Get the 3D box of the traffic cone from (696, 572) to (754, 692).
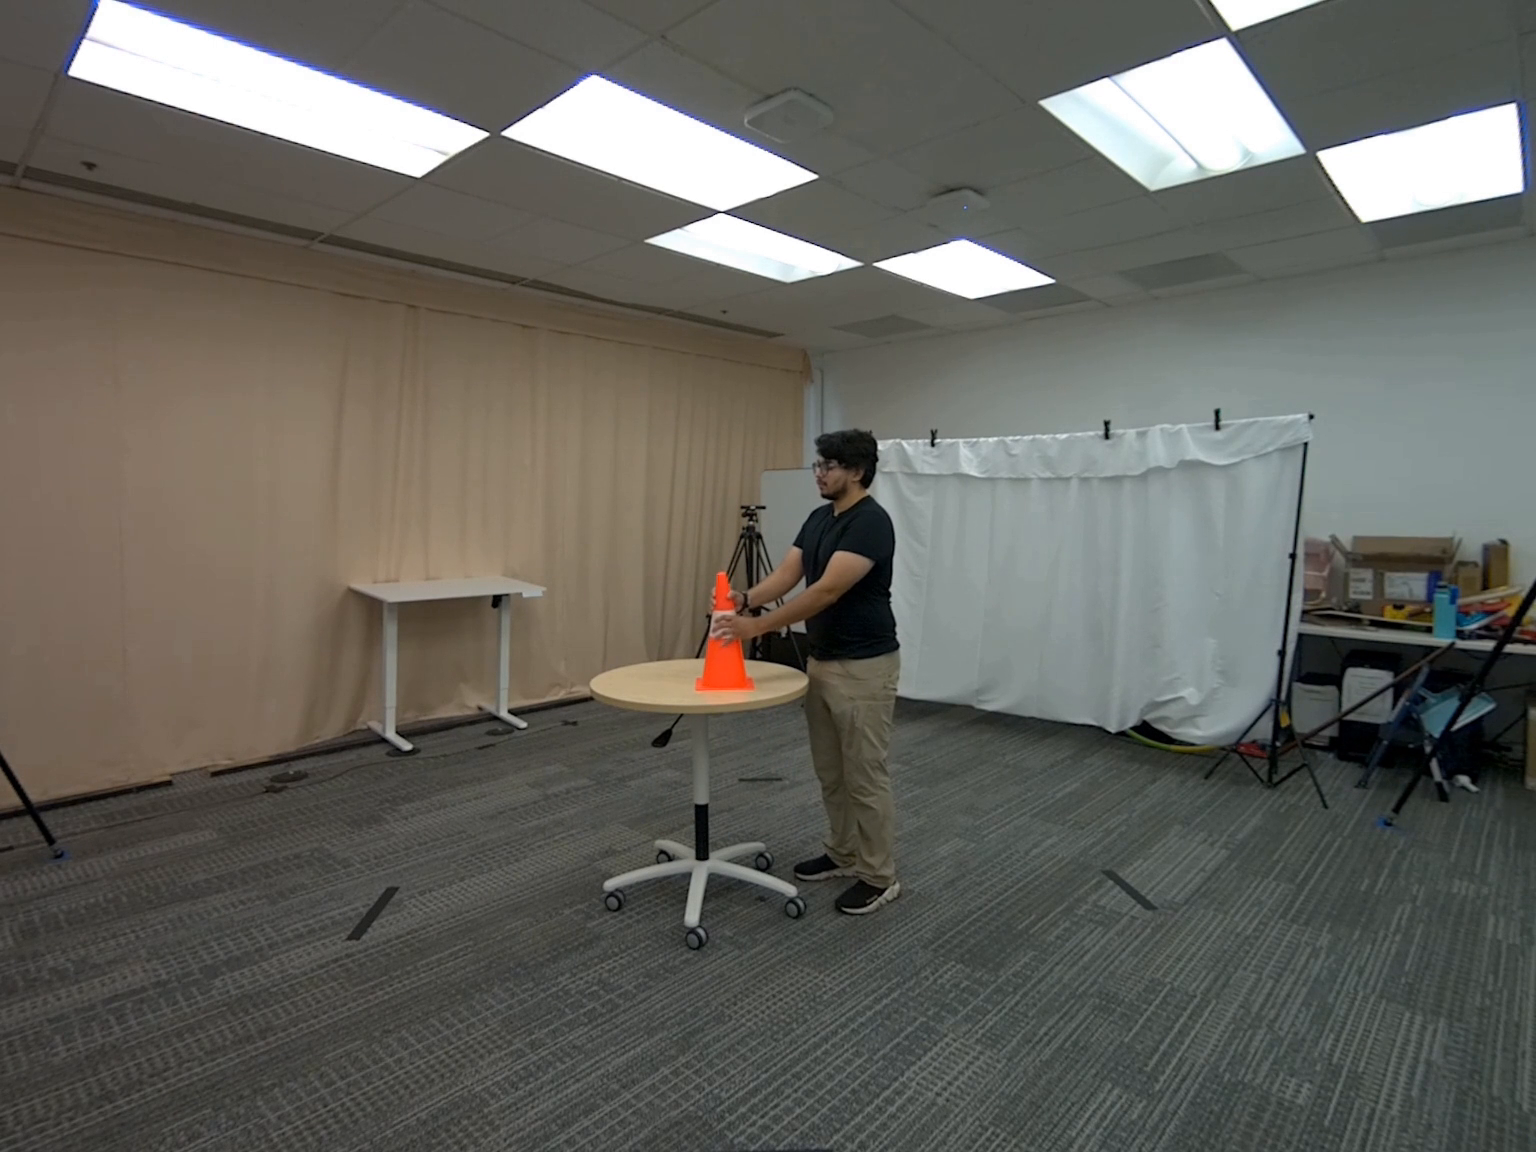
[{"bbox_3d":[-0.147,0.180,2.865,0.204,0.383,0.205,-3,3,-5],"label":"traffic cone"}]
